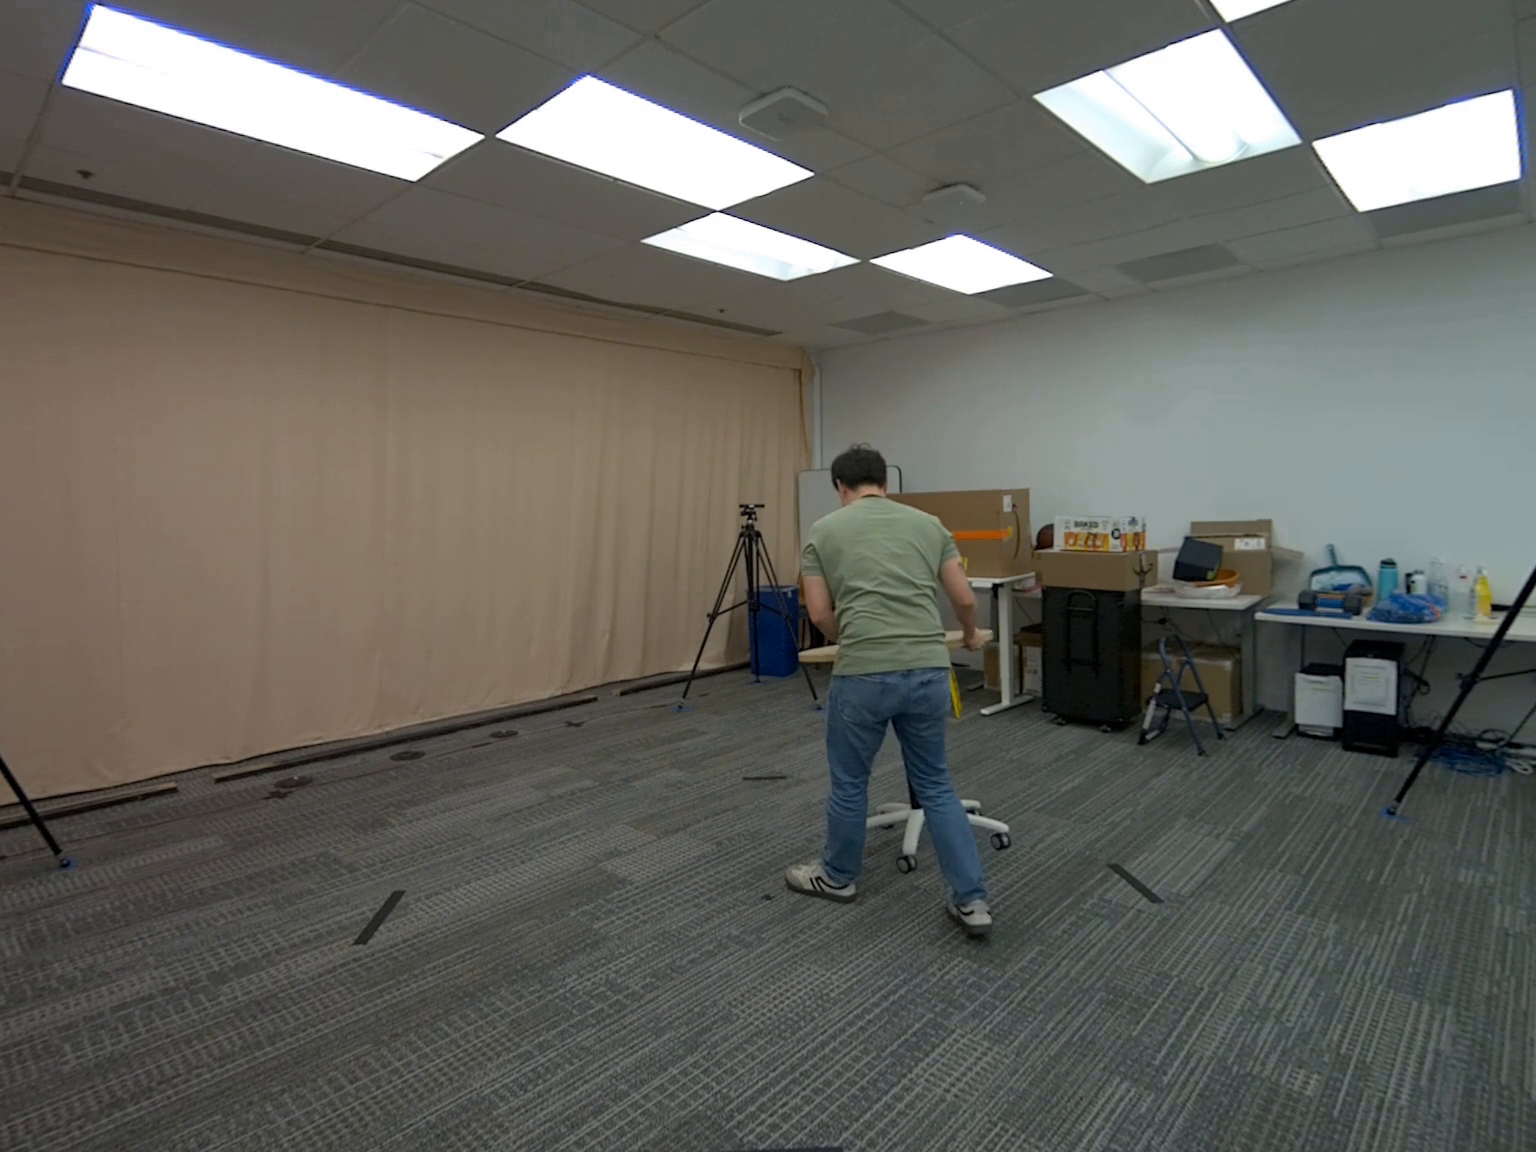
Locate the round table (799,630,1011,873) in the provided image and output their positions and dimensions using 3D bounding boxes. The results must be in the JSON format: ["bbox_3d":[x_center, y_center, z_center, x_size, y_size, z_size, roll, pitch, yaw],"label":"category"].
[{"bbox_3d":[0.557,0.664,3.345,0.763,0.796,0.763,-8,-3,-2],"label":"round table"}]
